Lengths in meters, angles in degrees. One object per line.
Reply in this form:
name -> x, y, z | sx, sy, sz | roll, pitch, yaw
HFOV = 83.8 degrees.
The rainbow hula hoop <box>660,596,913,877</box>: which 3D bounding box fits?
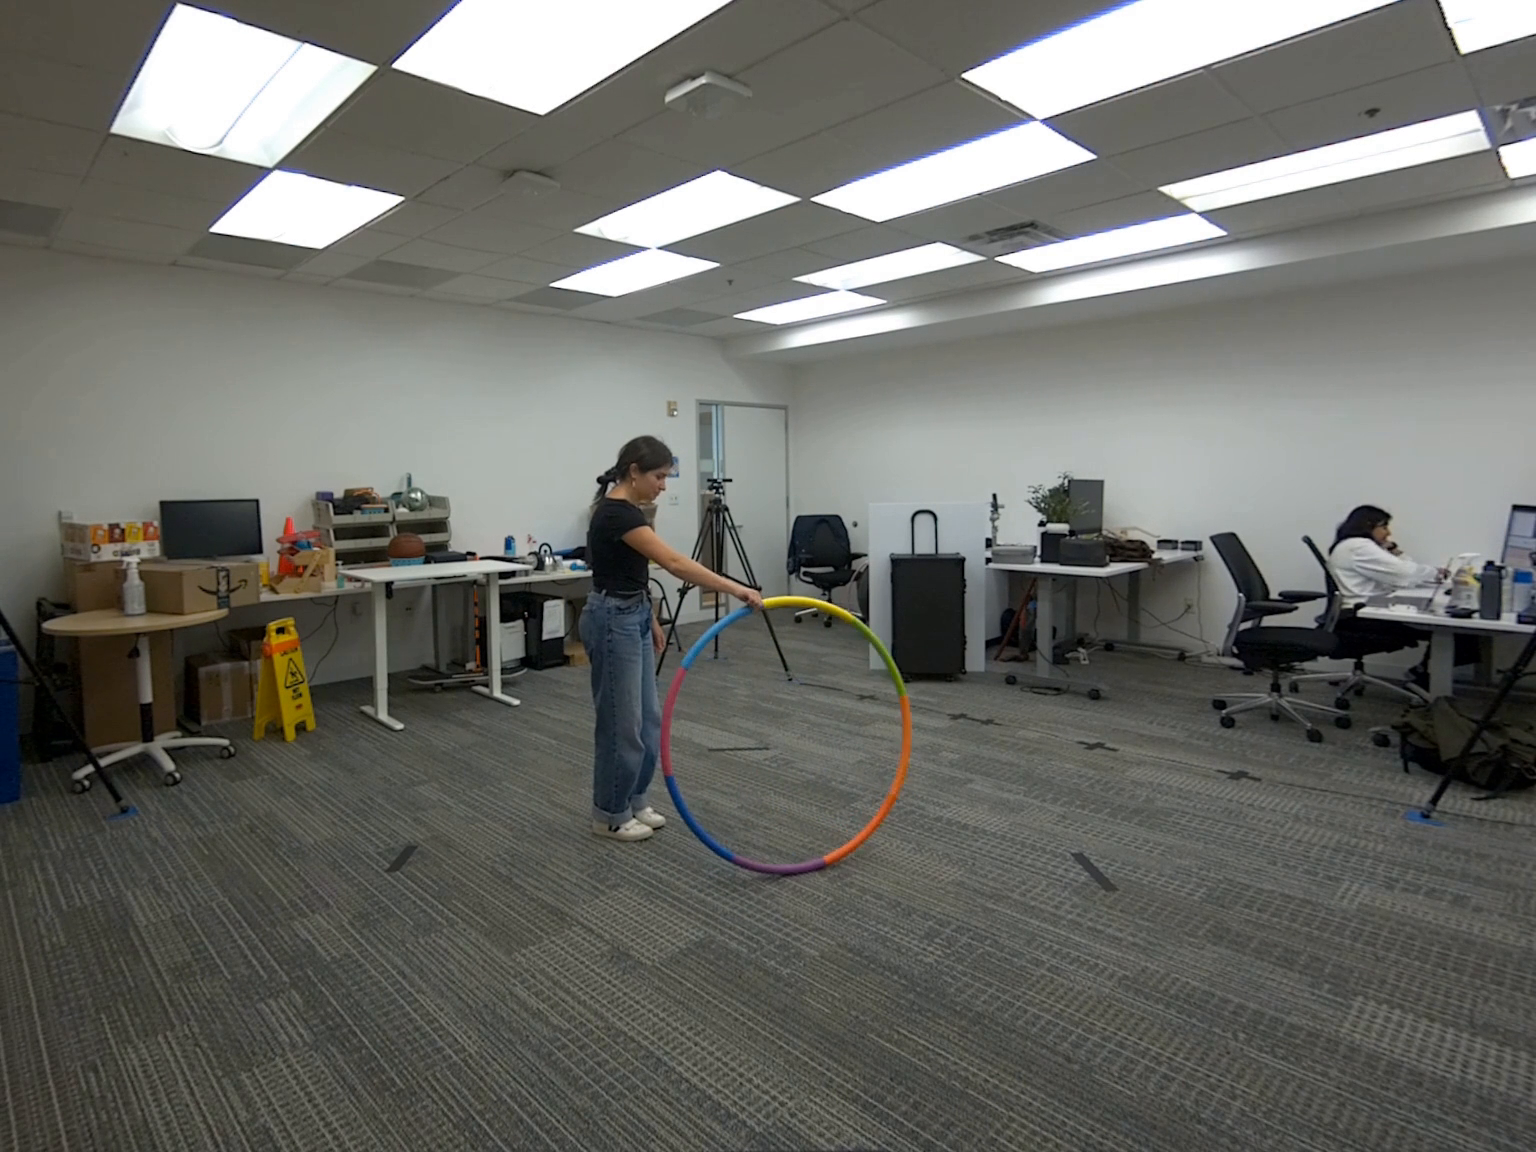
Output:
rainbow hula hoop -> 0.085, 0.569, 3.070 | 0.960, 0.984, 0.036 | -3, -6, -21
